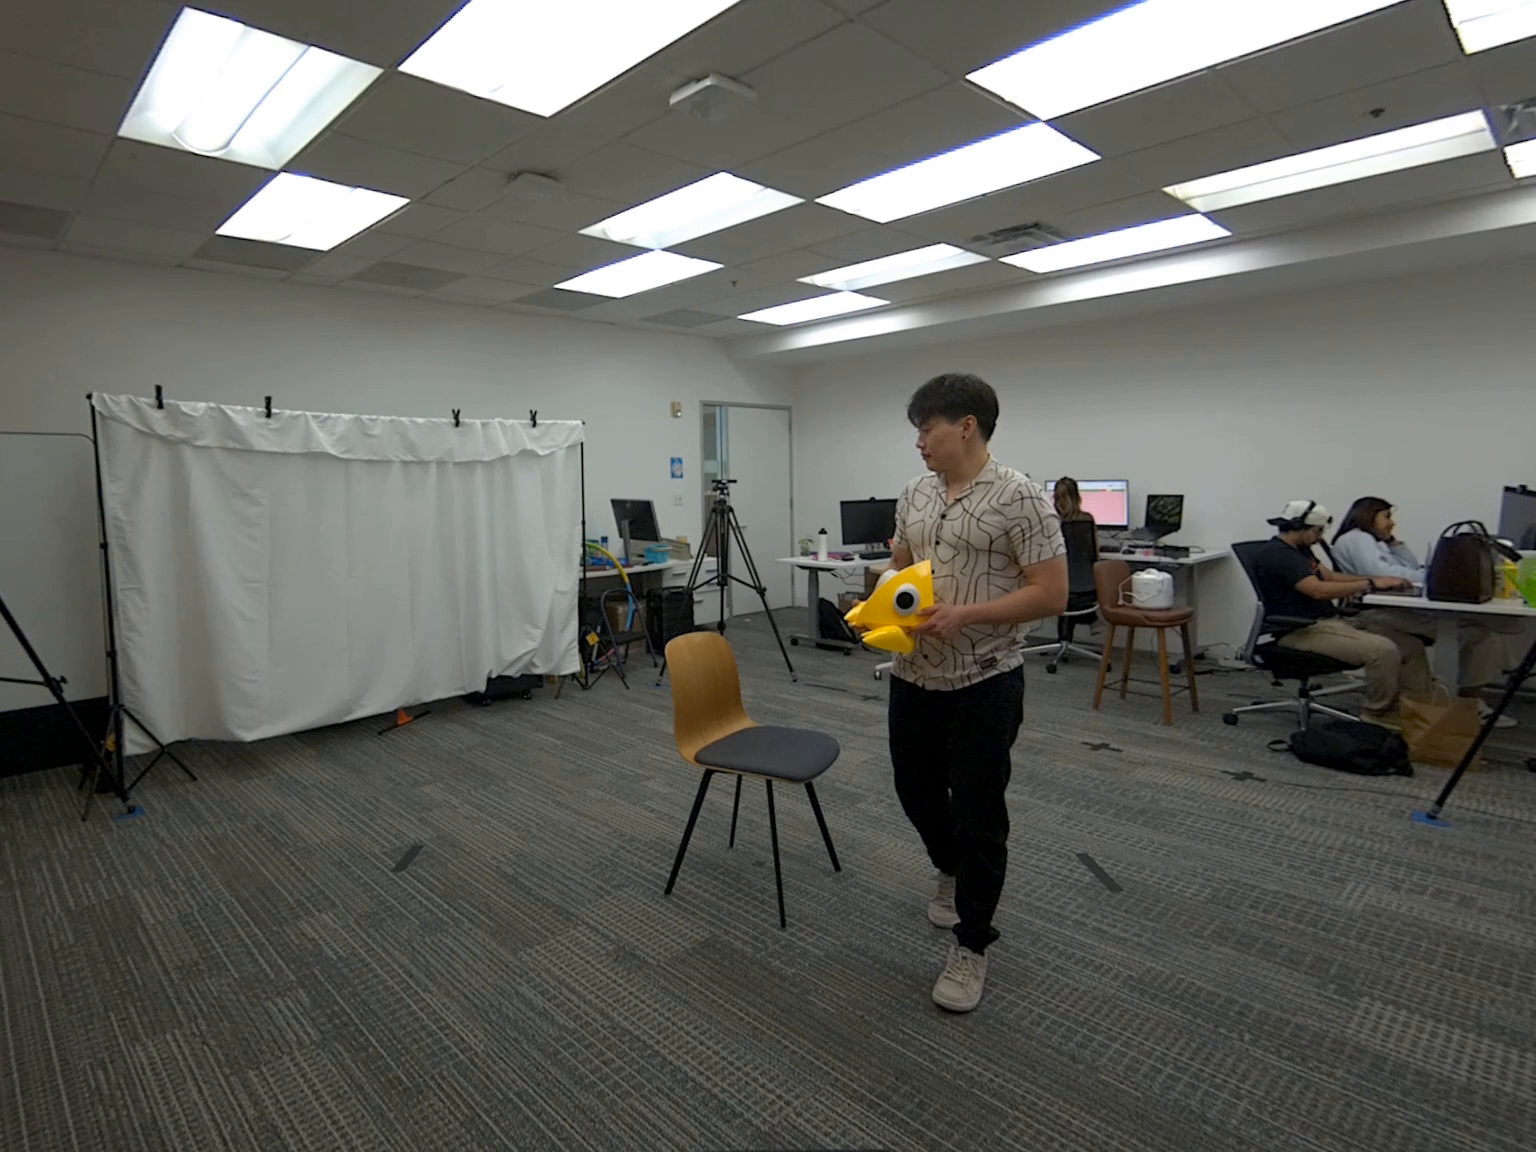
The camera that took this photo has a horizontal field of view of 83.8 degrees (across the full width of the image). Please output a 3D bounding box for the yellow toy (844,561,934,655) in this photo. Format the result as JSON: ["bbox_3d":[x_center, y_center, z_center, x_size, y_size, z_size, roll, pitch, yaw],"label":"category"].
[{"bbox_3d":[0.352,0.056,2.278,0.189,0.228,0.211,9,19,-21],"label":"yellow toy"}]
